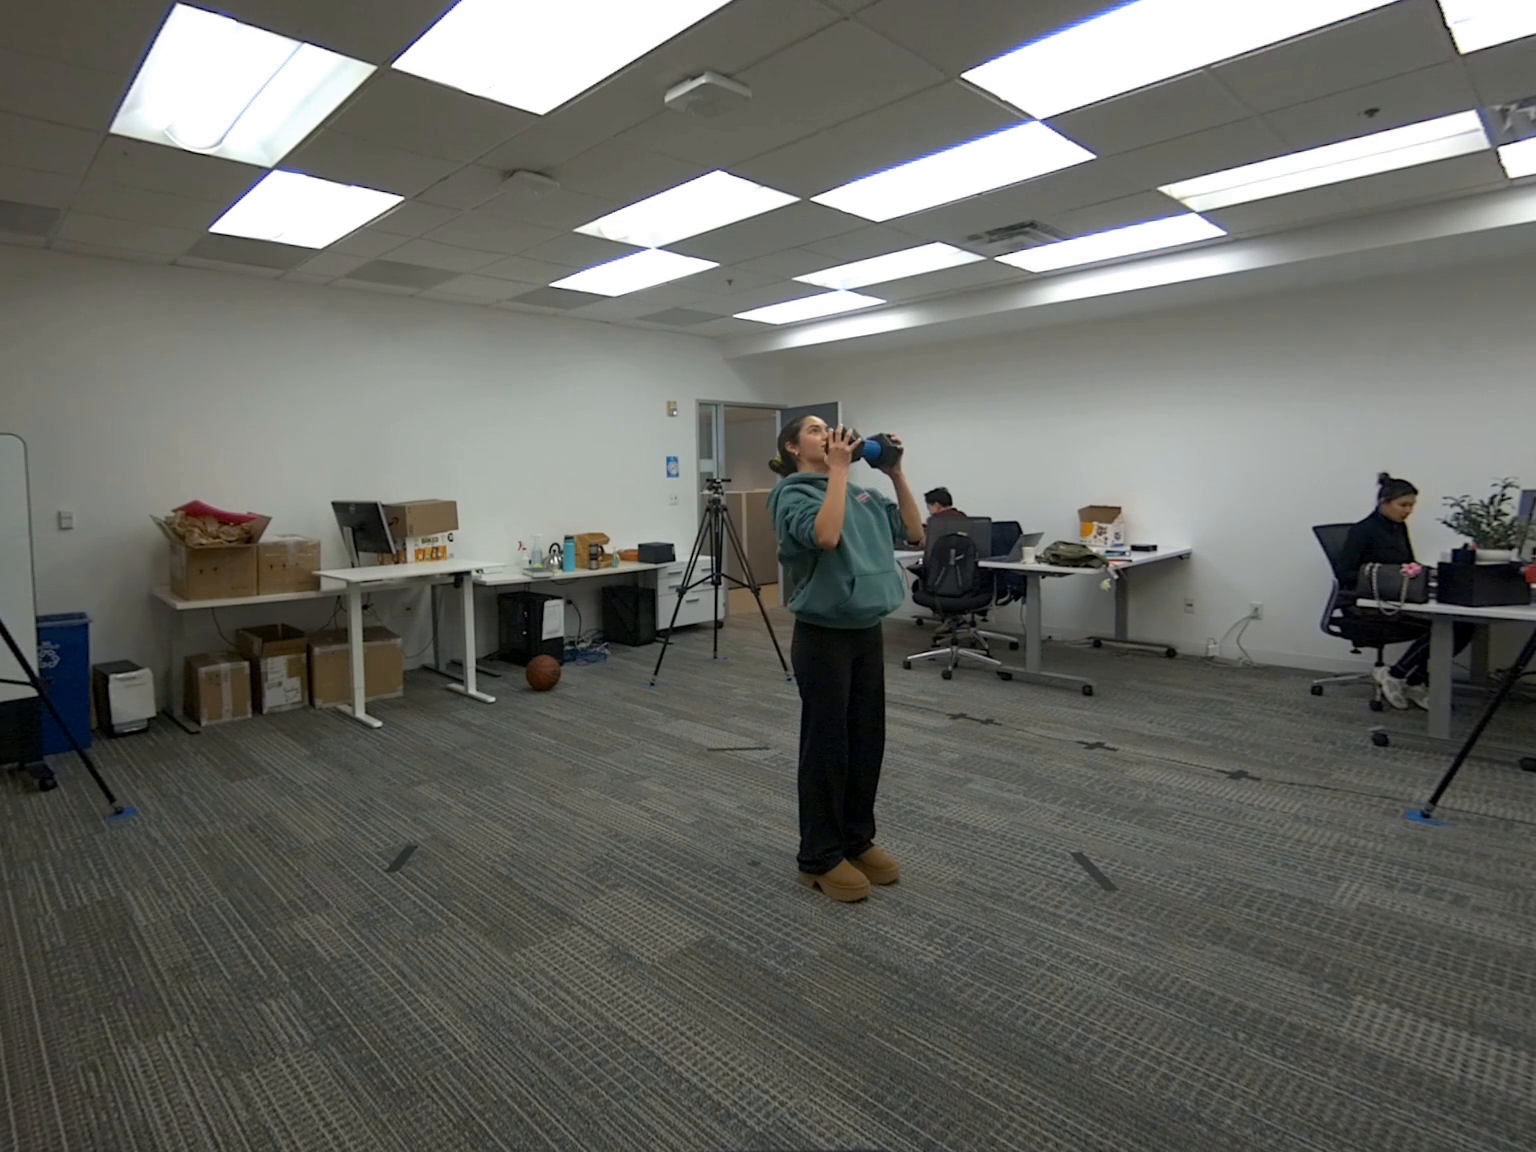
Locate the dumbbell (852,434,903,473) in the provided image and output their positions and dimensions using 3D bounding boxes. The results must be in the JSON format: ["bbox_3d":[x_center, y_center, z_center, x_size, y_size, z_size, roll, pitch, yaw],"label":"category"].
[{"bbox_3d":[0.312,-0.424,2.821,0.113,0.122,0.285,29,20,38],"label":"dumbbell"}]
